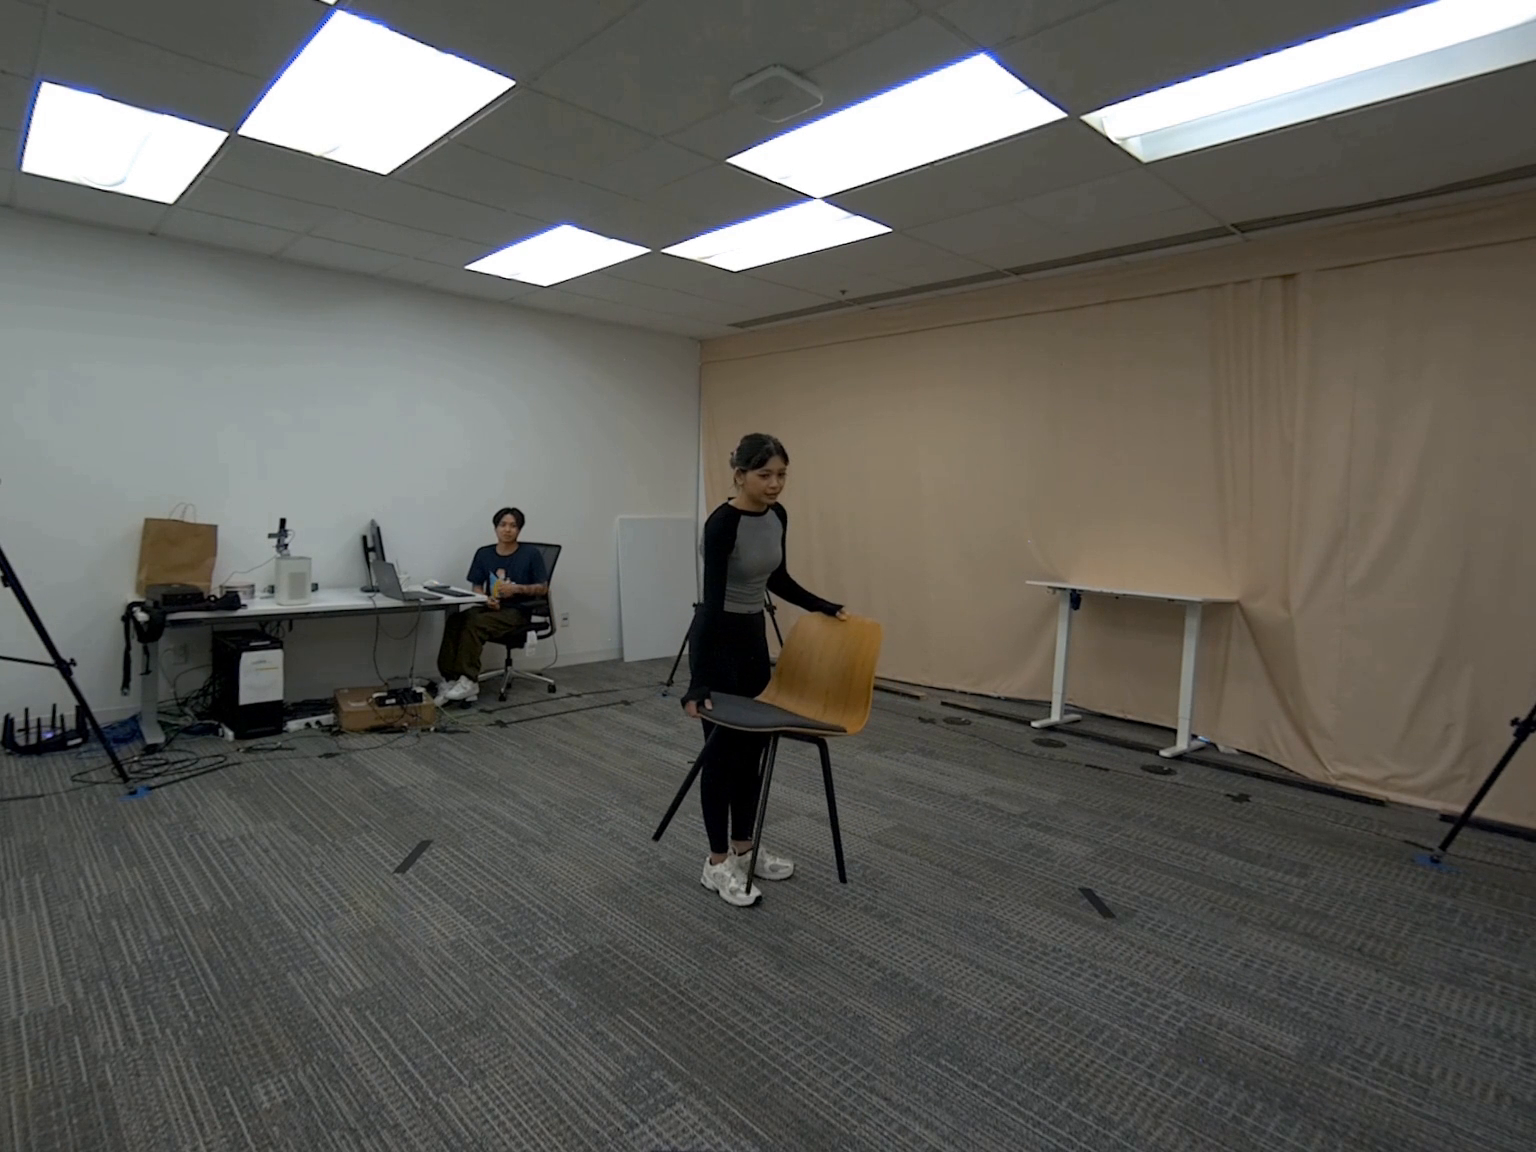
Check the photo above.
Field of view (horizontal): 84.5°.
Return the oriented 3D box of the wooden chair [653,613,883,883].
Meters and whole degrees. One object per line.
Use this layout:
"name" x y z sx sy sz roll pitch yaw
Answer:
"wooden chair" 0.018 0.506 2.699 0.490 0.881 0.507 7 -10 46
